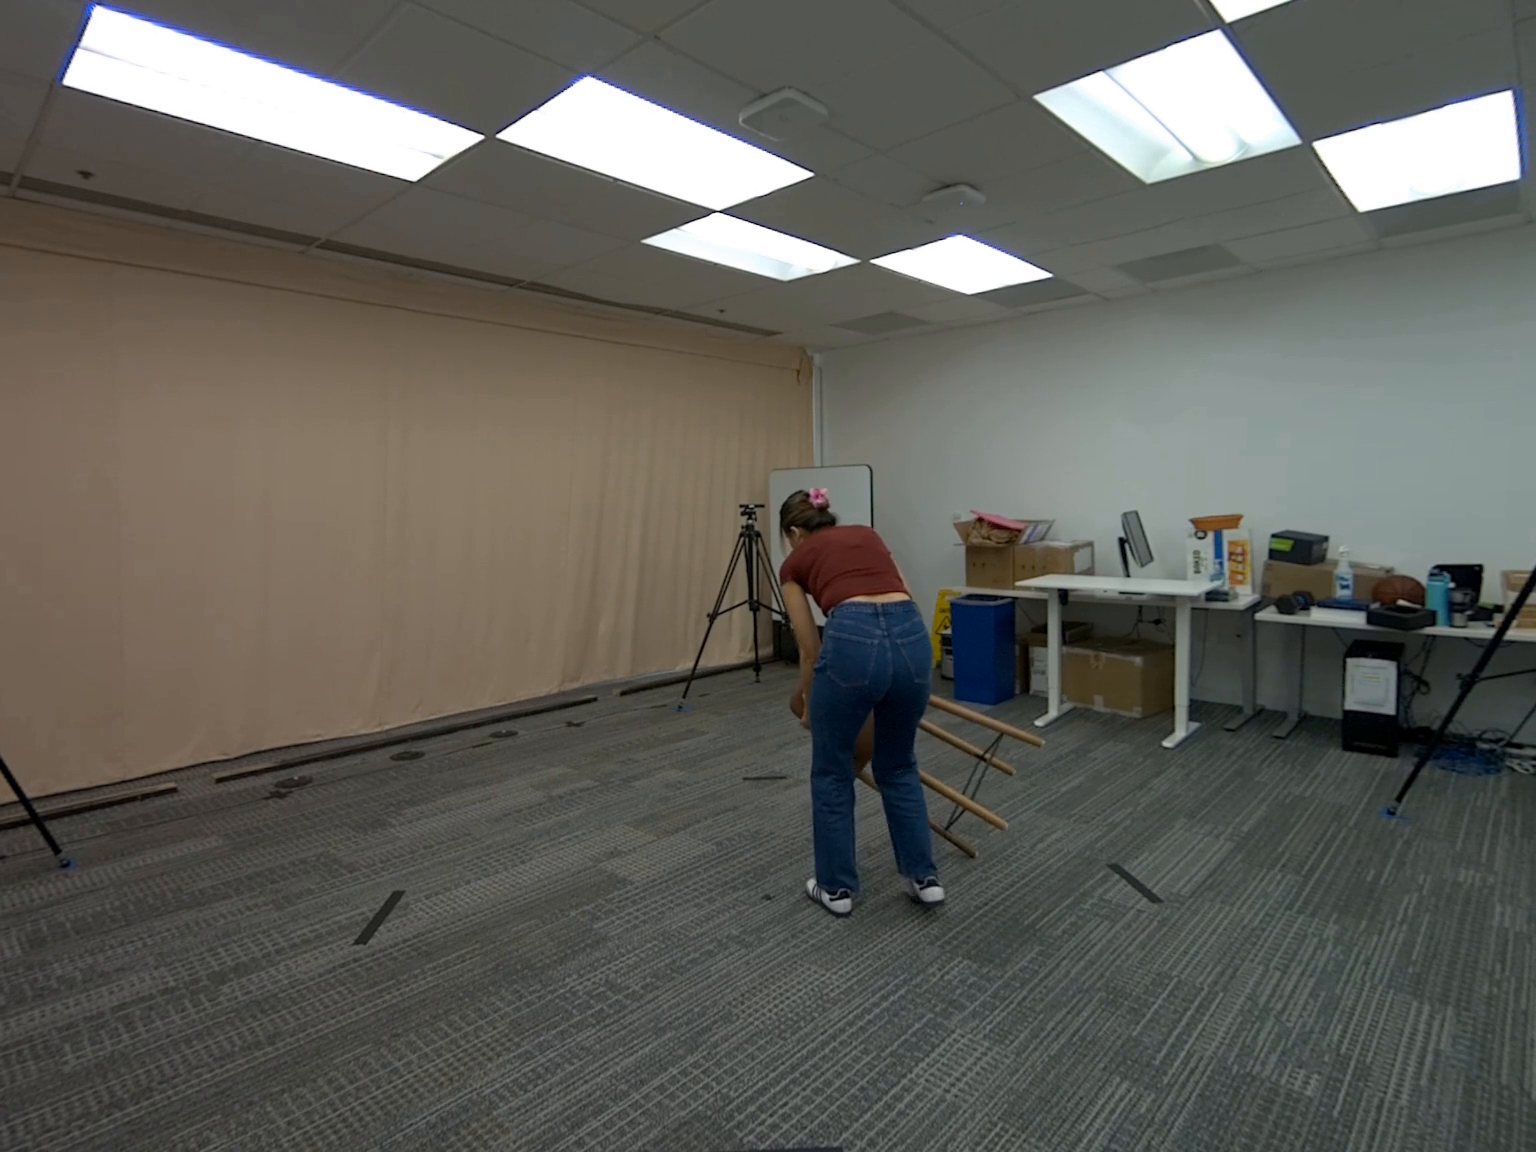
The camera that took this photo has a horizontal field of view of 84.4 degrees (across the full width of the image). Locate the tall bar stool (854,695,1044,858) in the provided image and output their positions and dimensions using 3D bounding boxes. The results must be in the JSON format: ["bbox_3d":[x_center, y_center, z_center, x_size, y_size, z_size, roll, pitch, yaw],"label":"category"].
[{"bbox_3d":[0.543,0.646,3.310,0.906,0.455,0.460,28,-25,14],"label":"tall bar stool"}]
